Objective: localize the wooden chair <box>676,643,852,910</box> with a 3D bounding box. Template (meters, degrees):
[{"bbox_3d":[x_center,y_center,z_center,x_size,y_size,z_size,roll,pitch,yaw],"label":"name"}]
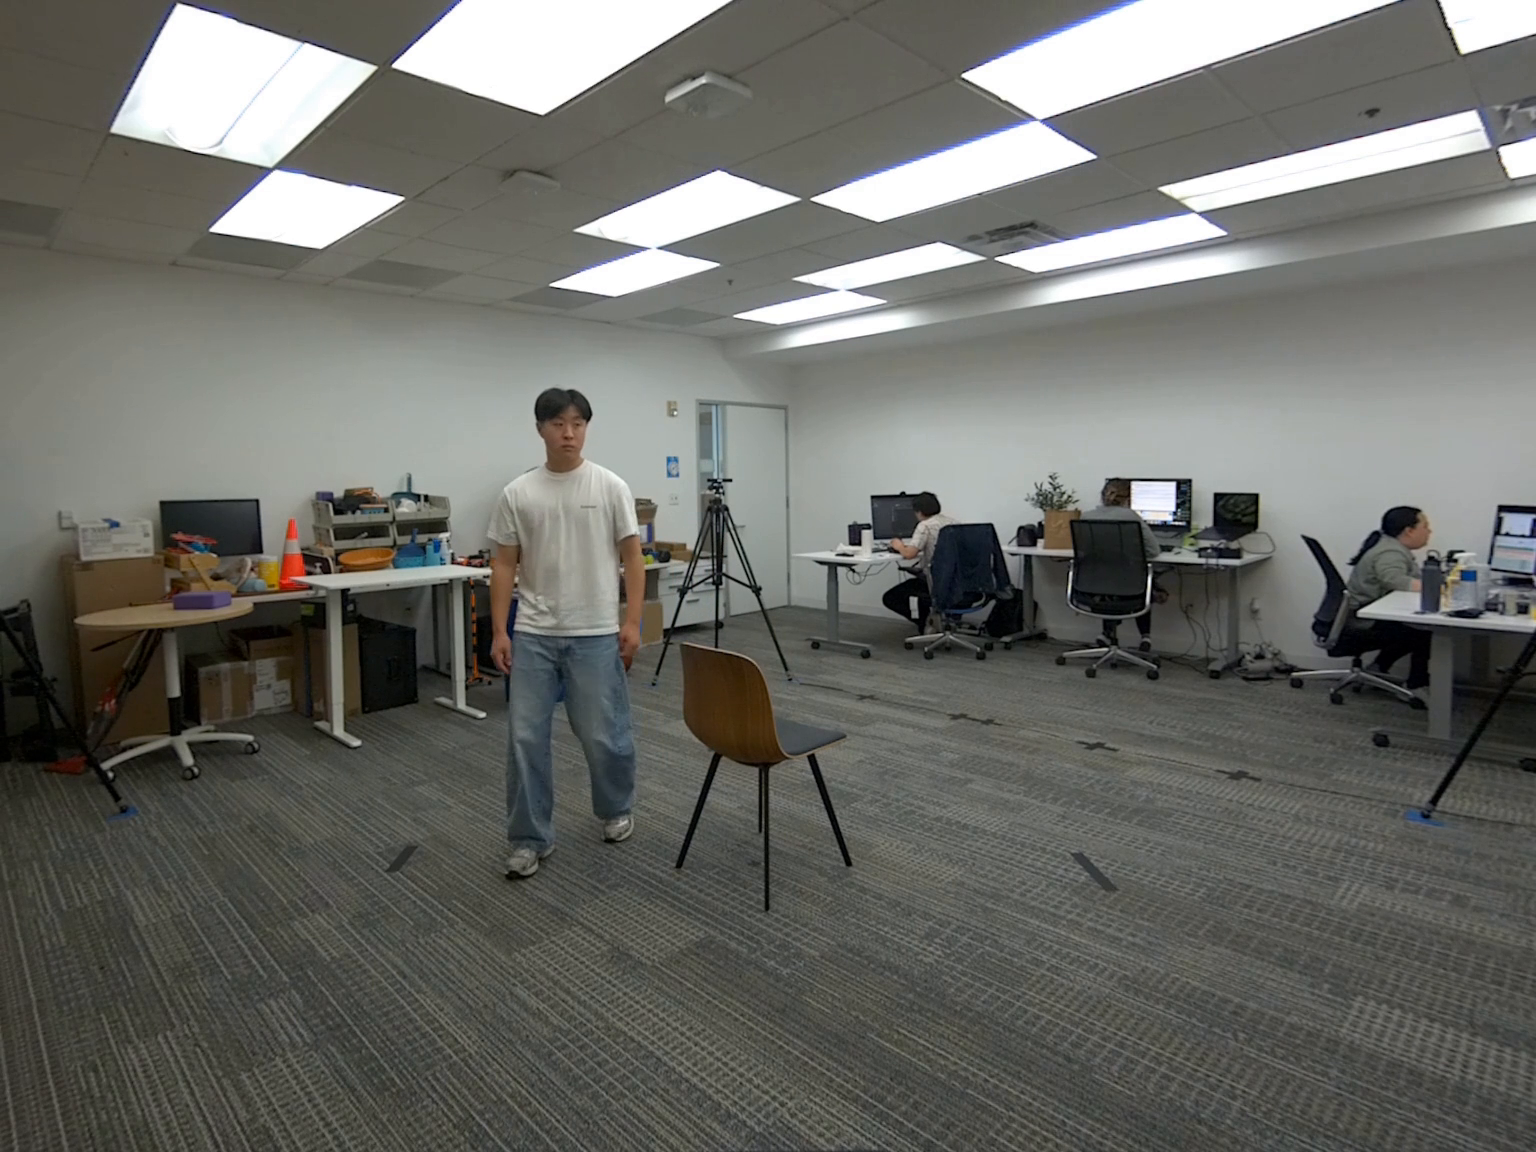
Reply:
[{"bbox_3d":[-0.012,0.624,3.044,0.493,0.871,0.511,4,10,44],"label":"wooden chair"}]
